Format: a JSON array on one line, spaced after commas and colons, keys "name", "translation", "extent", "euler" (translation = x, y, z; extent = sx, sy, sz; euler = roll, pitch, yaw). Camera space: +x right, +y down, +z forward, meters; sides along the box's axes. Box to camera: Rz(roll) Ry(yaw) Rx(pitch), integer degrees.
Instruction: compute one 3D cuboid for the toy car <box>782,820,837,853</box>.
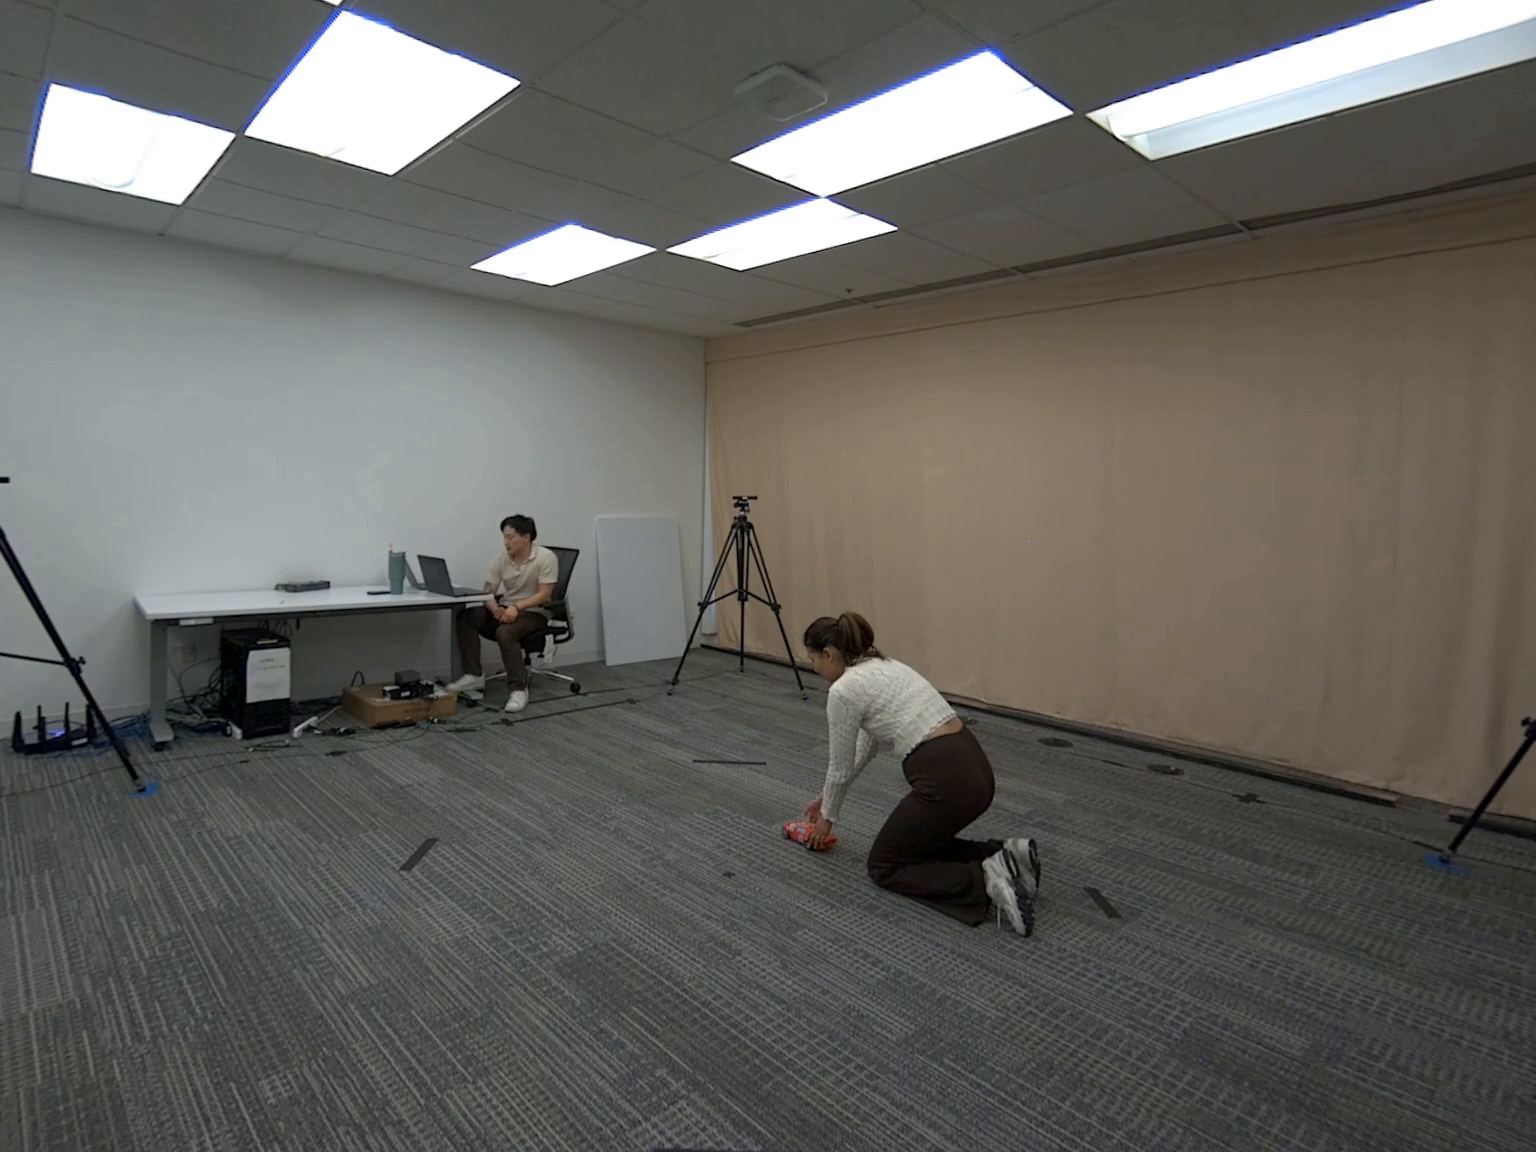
[{"name": "toy car", "translation": [0.160, 1.052, 3.399], "extent": [0.127, 0.083, 0.259], "euler": [-2, -3, -38]}]
